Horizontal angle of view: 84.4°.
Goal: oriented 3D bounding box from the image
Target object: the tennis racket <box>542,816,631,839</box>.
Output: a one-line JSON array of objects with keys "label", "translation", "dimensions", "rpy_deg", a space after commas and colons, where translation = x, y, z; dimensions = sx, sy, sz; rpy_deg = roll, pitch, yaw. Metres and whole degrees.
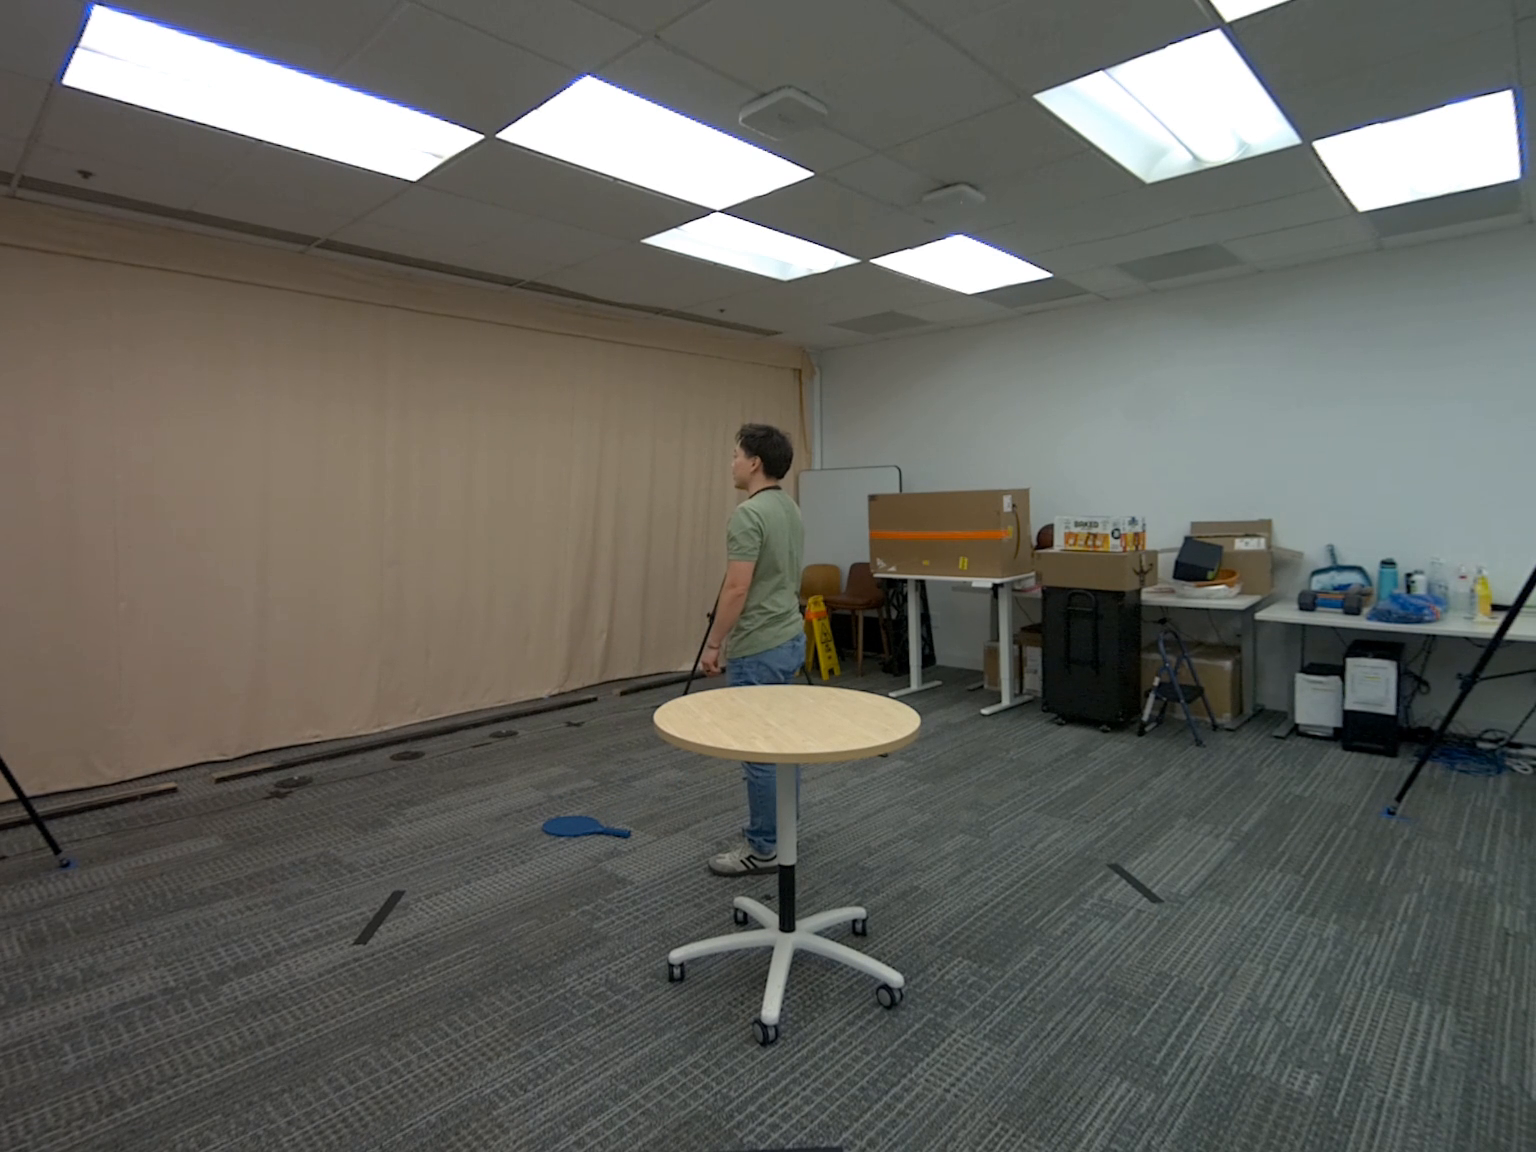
[{"label": "tennis racket", "translation": [-0.786, 1.087, 3.634], "dimensions": [0.444, 0.032, 0.209], "rpy_deg": [0, 5, 27]}]
